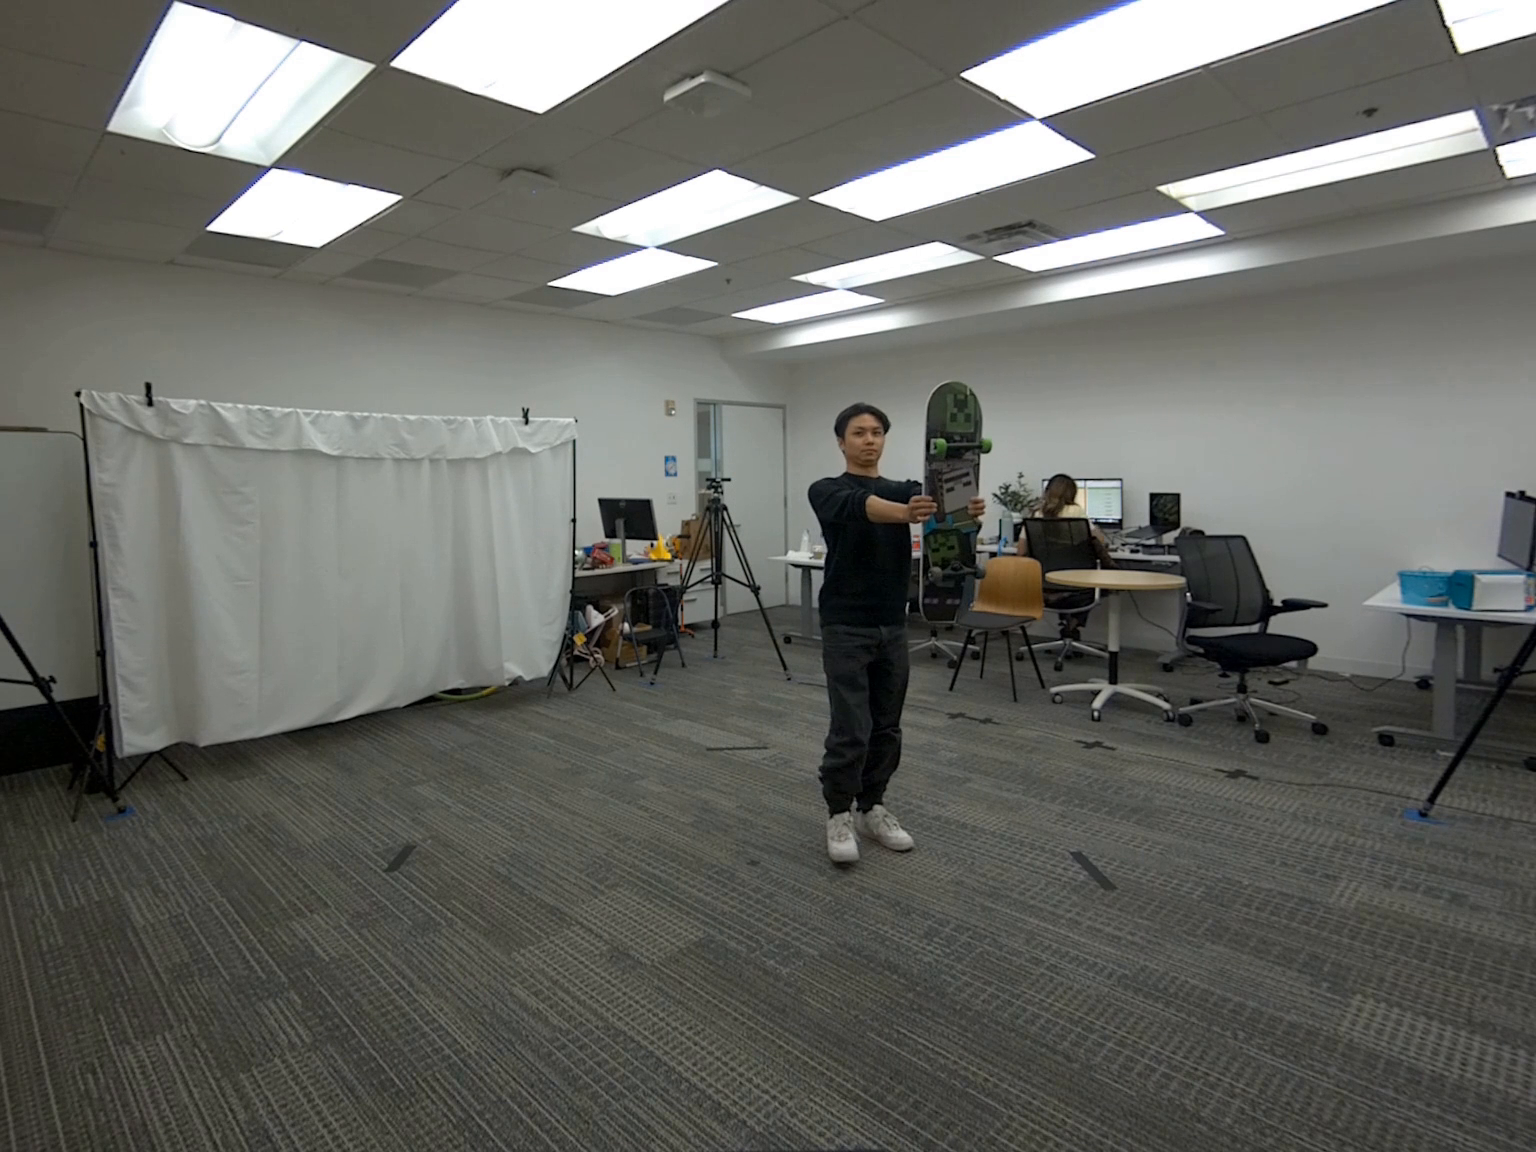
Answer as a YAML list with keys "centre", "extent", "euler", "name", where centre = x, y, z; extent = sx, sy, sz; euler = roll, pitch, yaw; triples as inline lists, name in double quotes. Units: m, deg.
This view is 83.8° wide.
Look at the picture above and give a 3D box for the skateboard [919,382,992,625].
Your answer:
- centre: [0.586, -0.207, 2.674]
  extent: [0.191, 0.778, 0.113]
  euler: [-3, 10, -15]
  name: "skateboard"
